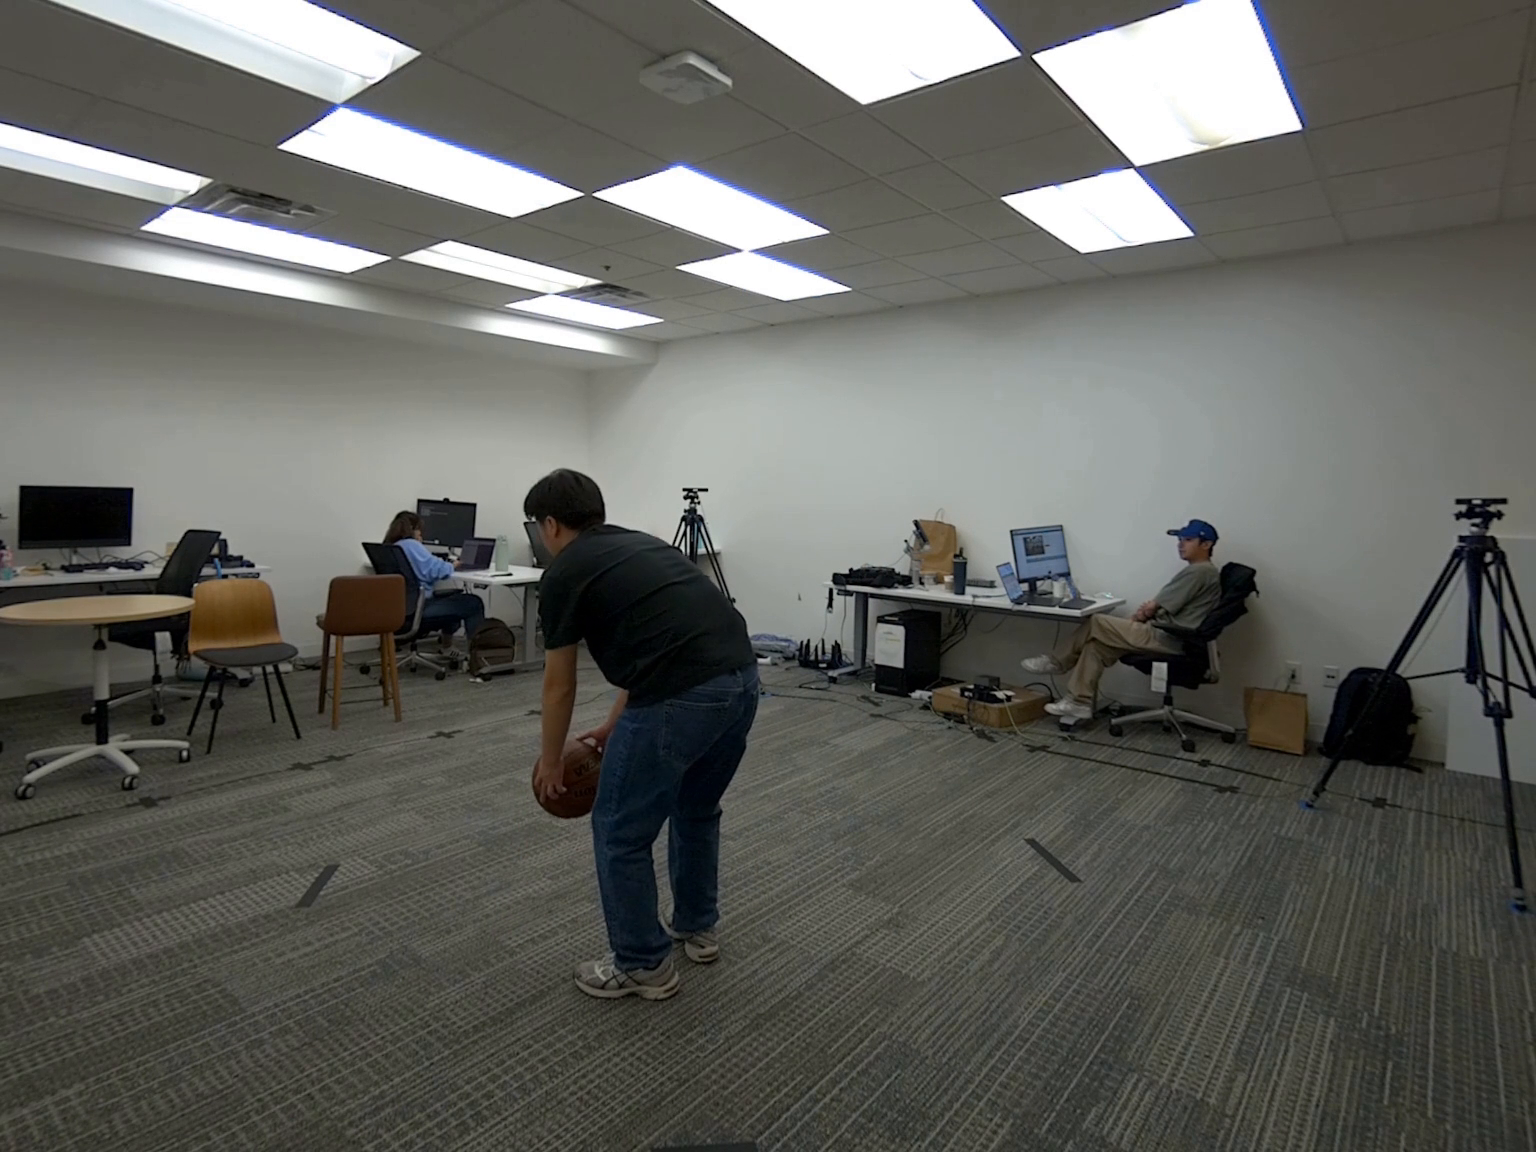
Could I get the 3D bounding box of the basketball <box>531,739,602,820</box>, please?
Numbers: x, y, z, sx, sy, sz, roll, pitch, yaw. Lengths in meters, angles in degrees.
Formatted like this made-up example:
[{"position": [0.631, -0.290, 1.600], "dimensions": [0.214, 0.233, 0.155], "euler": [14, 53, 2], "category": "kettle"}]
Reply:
[{"position": [-0.626, 0.629, 2.664], "dimensions": [0.236, 0.235, 0.237], "euler": [1, 4, -2], "category": "basketball"}]
